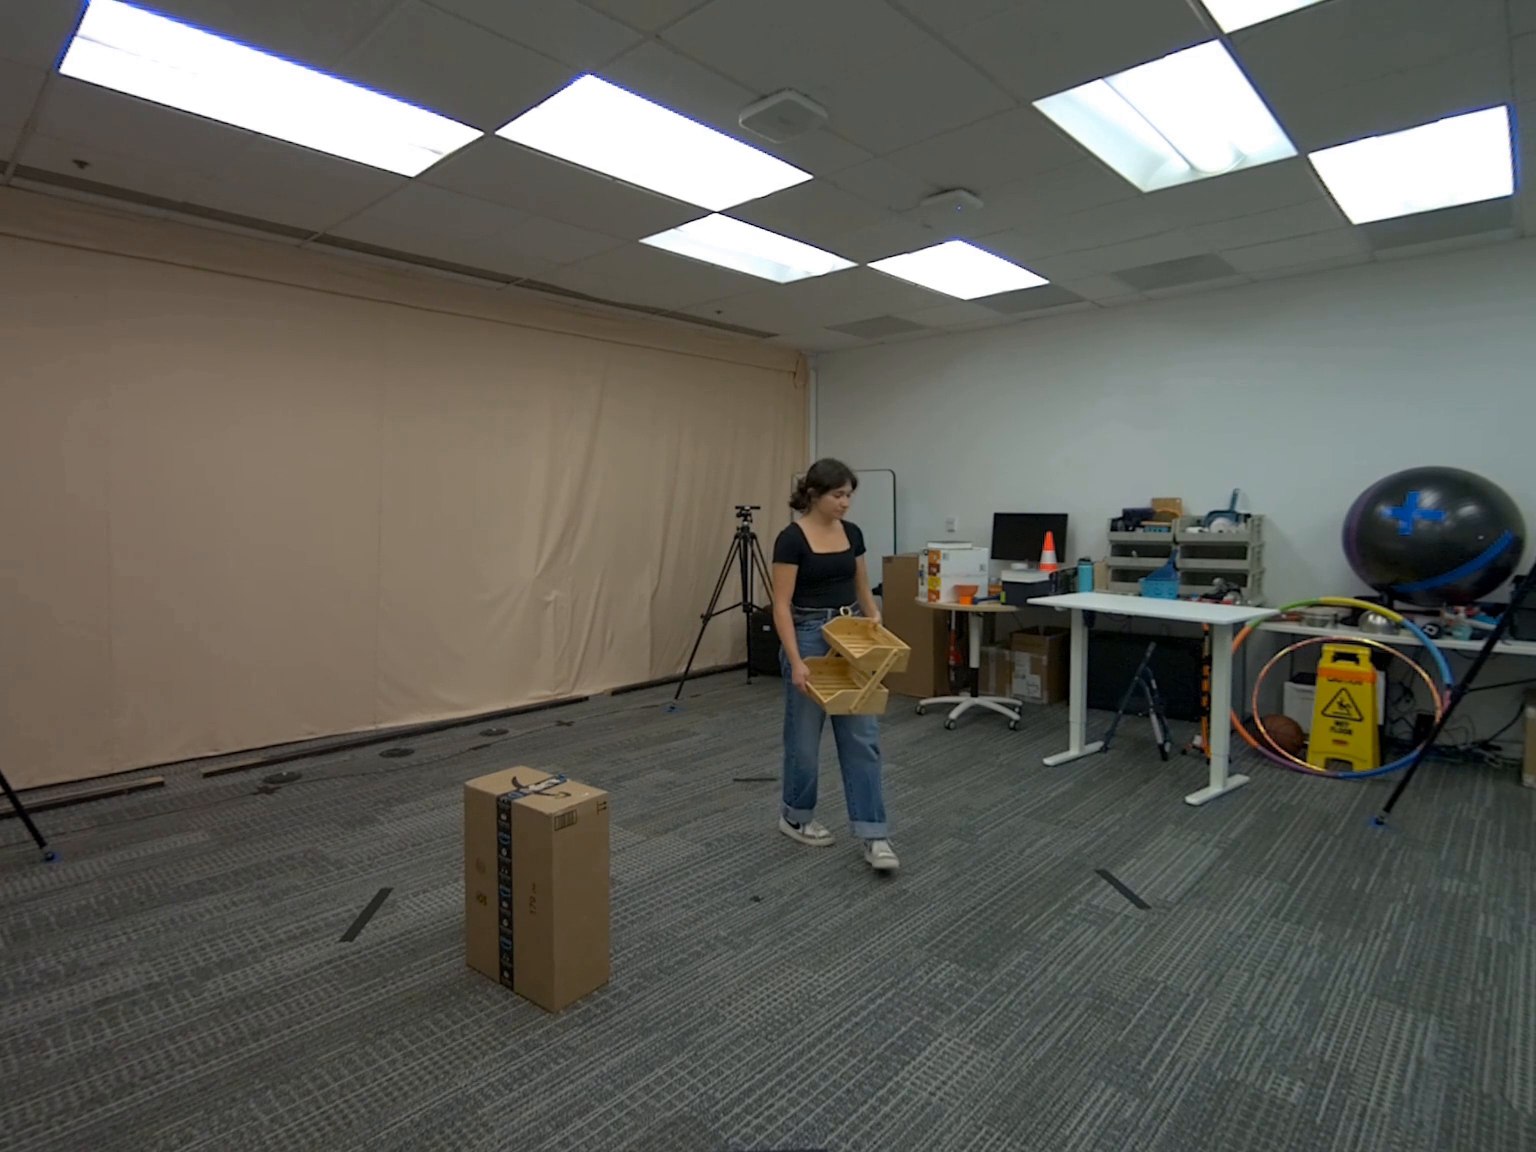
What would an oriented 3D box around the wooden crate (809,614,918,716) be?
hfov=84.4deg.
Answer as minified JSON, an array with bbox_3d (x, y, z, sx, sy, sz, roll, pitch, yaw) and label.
[{"bbox_3d":[0.306,0.314,3.123,0.295,0.271,0.334,3,17,-22],"label":"wooden crate"}]
